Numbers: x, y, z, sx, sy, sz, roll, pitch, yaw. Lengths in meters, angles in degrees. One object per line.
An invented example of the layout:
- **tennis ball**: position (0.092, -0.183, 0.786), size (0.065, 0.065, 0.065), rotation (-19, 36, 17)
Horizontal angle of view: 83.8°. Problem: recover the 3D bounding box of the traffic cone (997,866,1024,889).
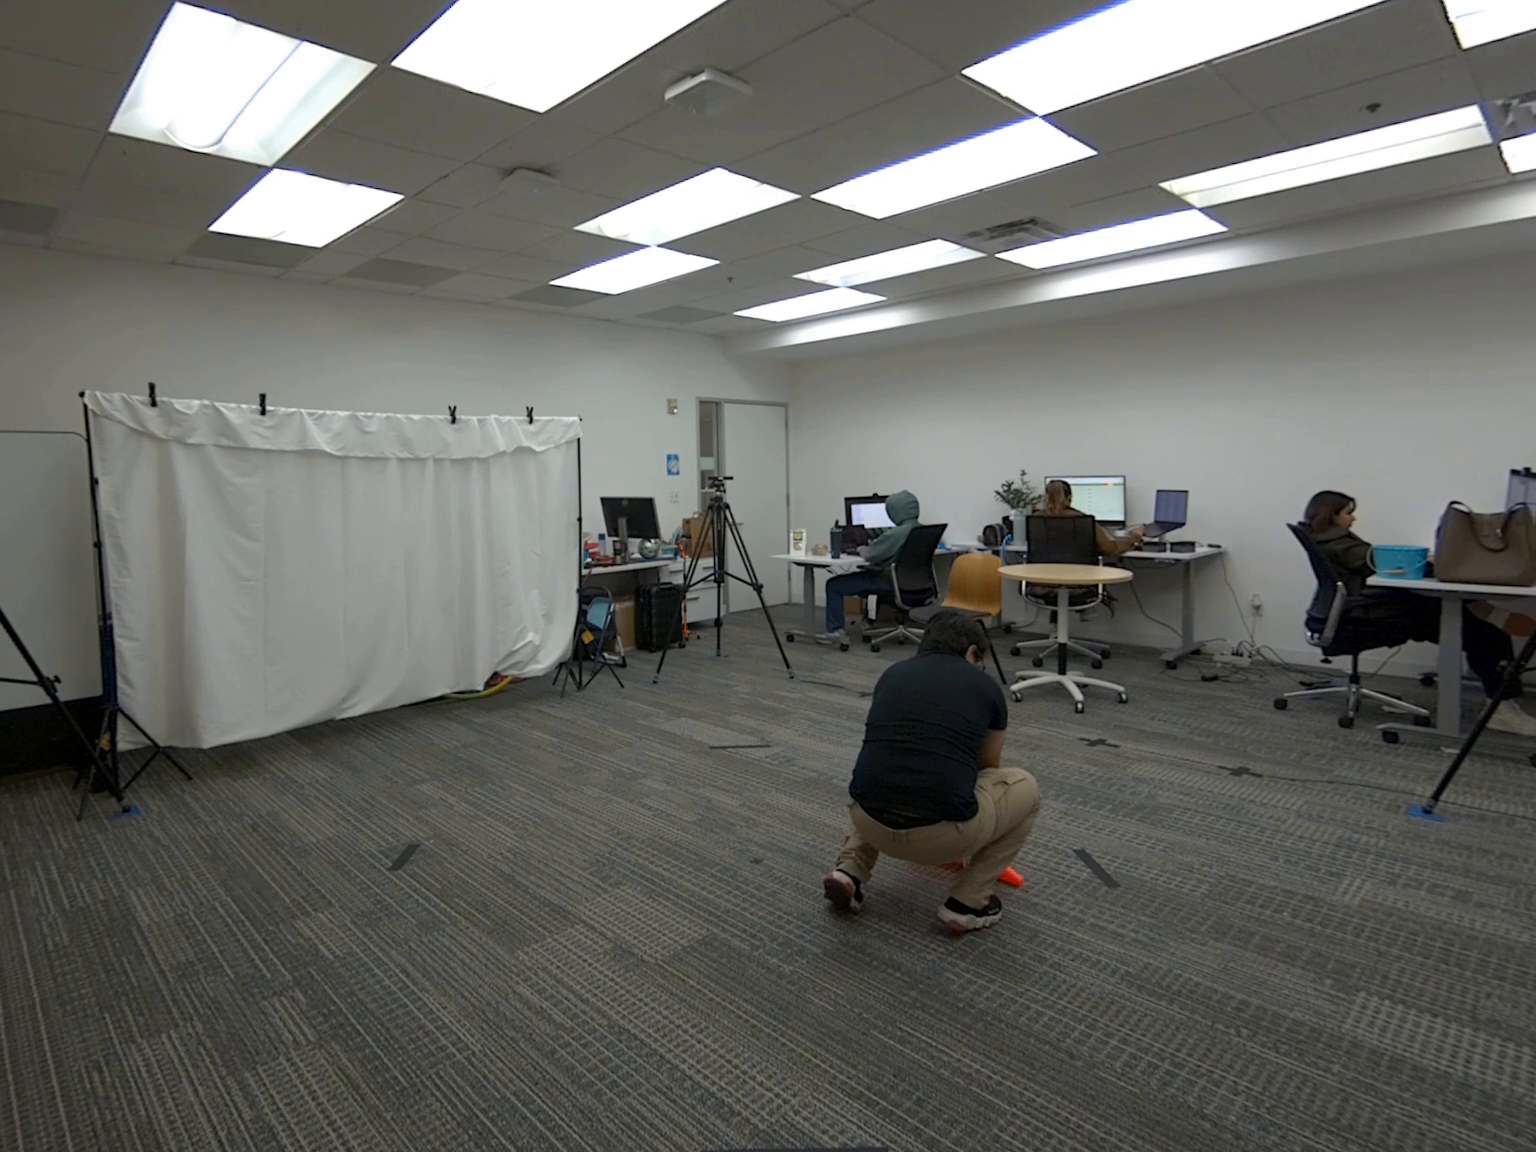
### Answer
- **traffic cone**: position (0.732, 0.985, 3.006), size (0.198, 0.203, 0.398), rotation (-3, 19, -44)
